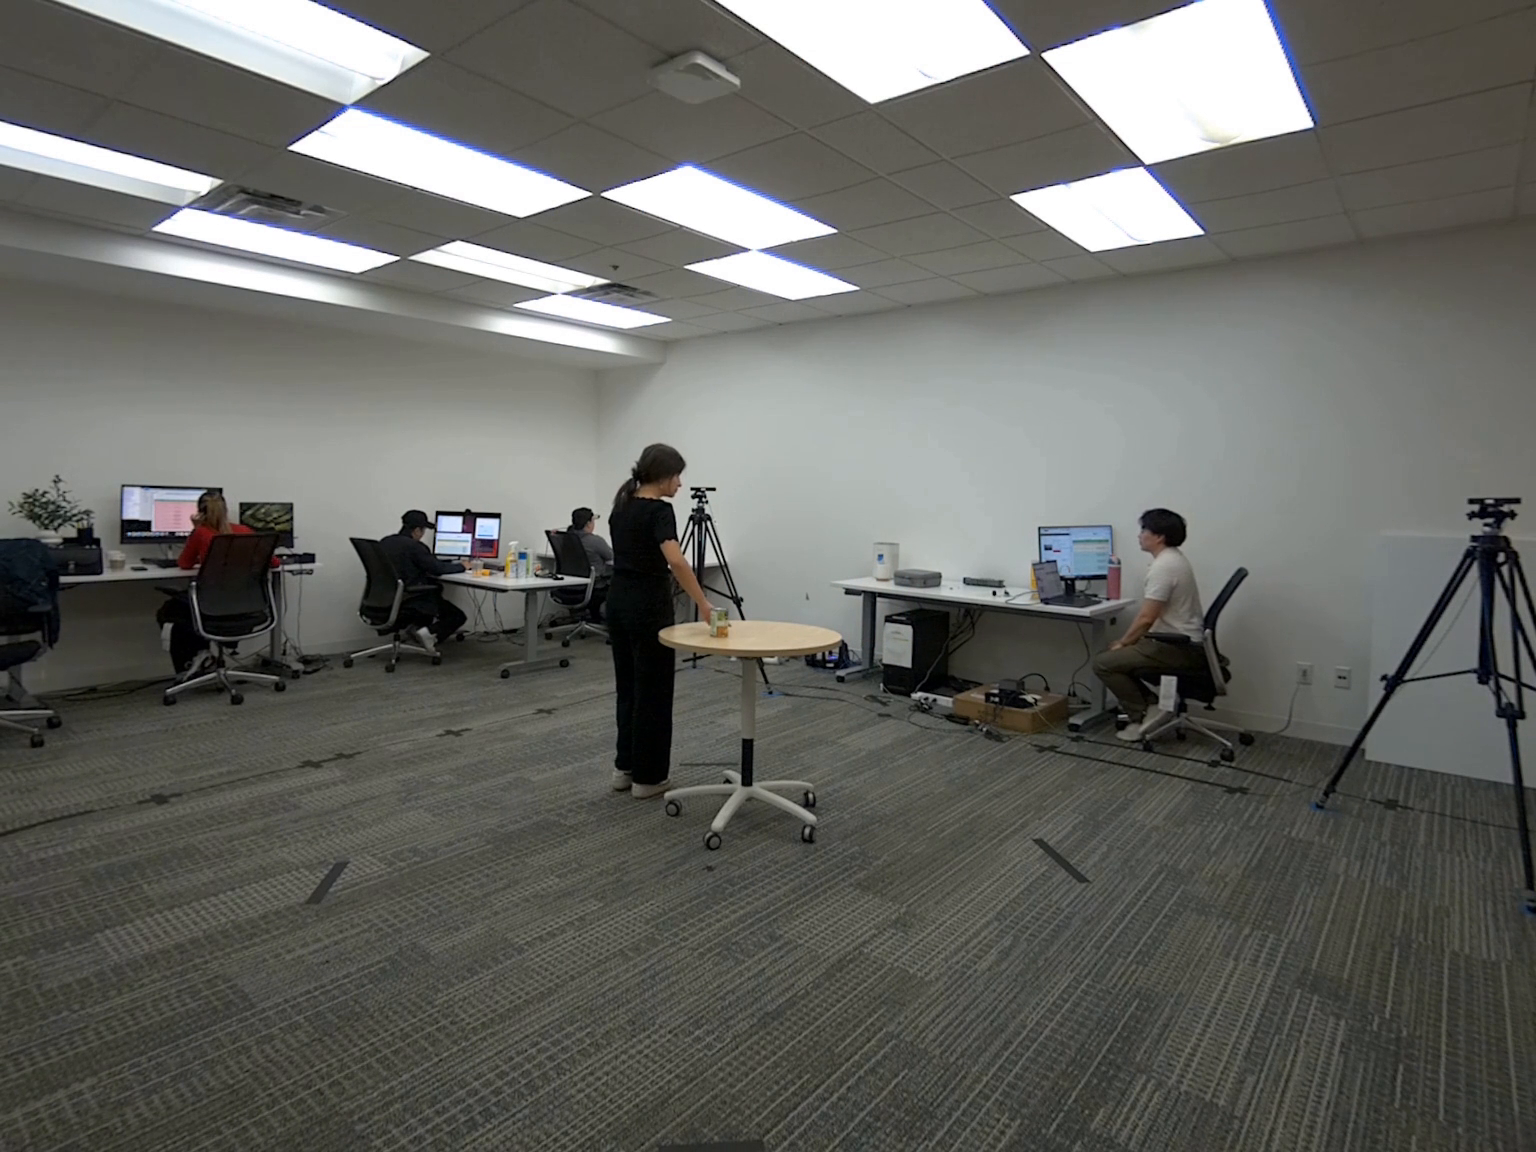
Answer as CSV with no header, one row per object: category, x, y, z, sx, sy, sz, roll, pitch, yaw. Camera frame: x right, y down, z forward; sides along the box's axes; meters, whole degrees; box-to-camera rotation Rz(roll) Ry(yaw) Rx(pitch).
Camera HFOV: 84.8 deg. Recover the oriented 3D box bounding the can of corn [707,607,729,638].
can of corn,-0.215,0.189,3.500,0.074,0.111,0.074,2,1,-2
